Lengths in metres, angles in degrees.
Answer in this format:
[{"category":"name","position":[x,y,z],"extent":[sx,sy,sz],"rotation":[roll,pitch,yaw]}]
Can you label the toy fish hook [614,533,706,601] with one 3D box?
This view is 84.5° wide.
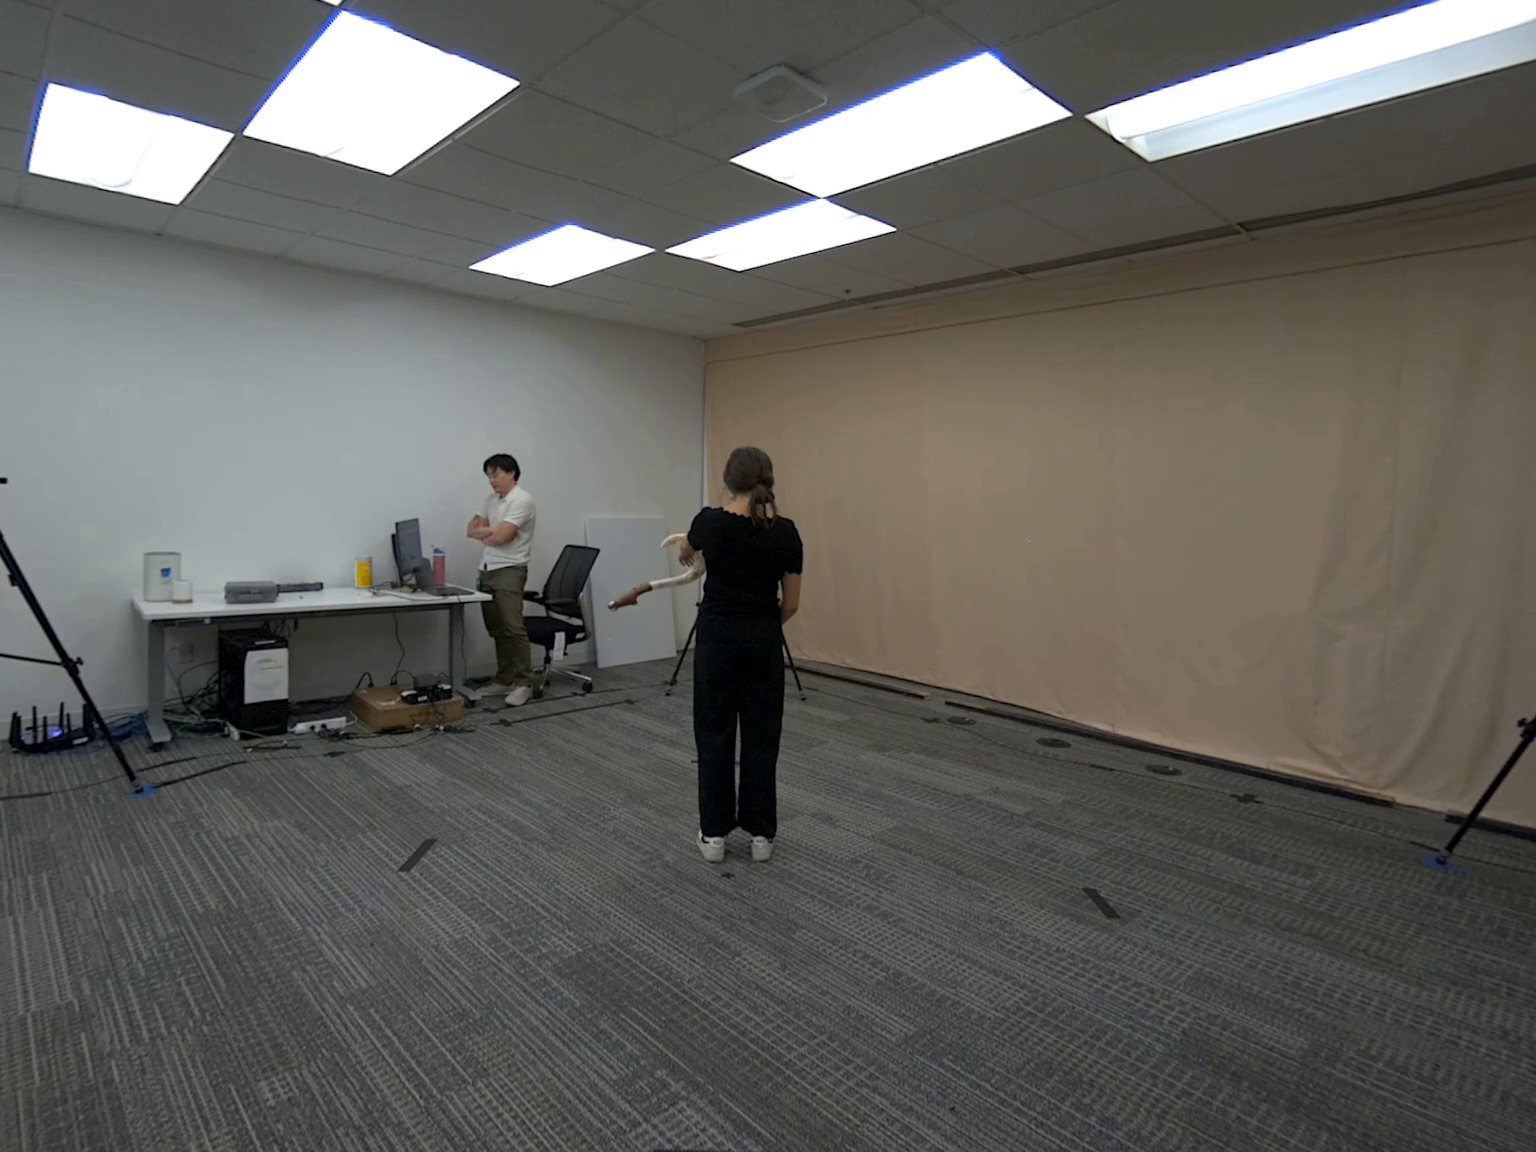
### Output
[{"category":"toy fish hook","position":[-0.468,-0.015,3.587],"extent":[0.503,0.222,0.049],"rotation":[-28,10,-20]}]
